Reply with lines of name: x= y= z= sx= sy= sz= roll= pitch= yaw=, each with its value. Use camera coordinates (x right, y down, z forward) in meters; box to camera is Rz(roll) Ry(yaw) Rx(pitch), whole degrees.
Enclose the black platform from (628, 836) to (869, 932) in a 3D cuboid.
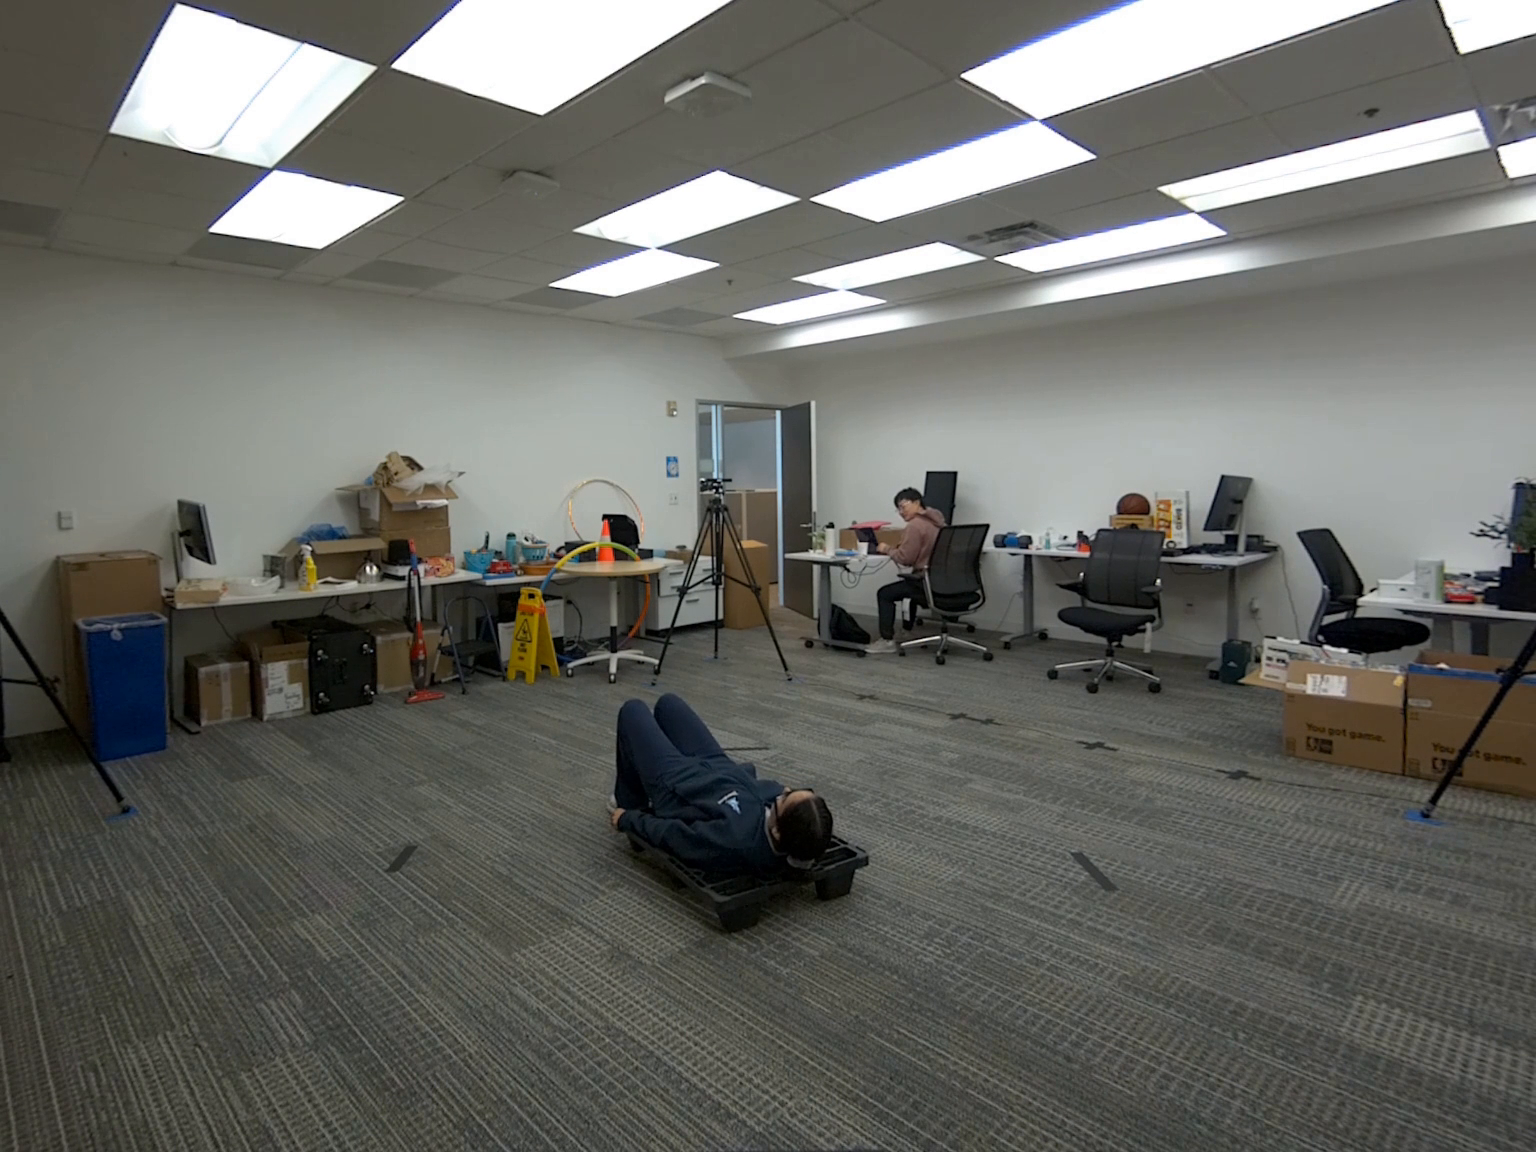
black platform: x=-0.124 y=0.989 z=3.042 sx=0.590 sy=0.143 sz=0.828 roll=-4 pitch=7 yaw=-31
